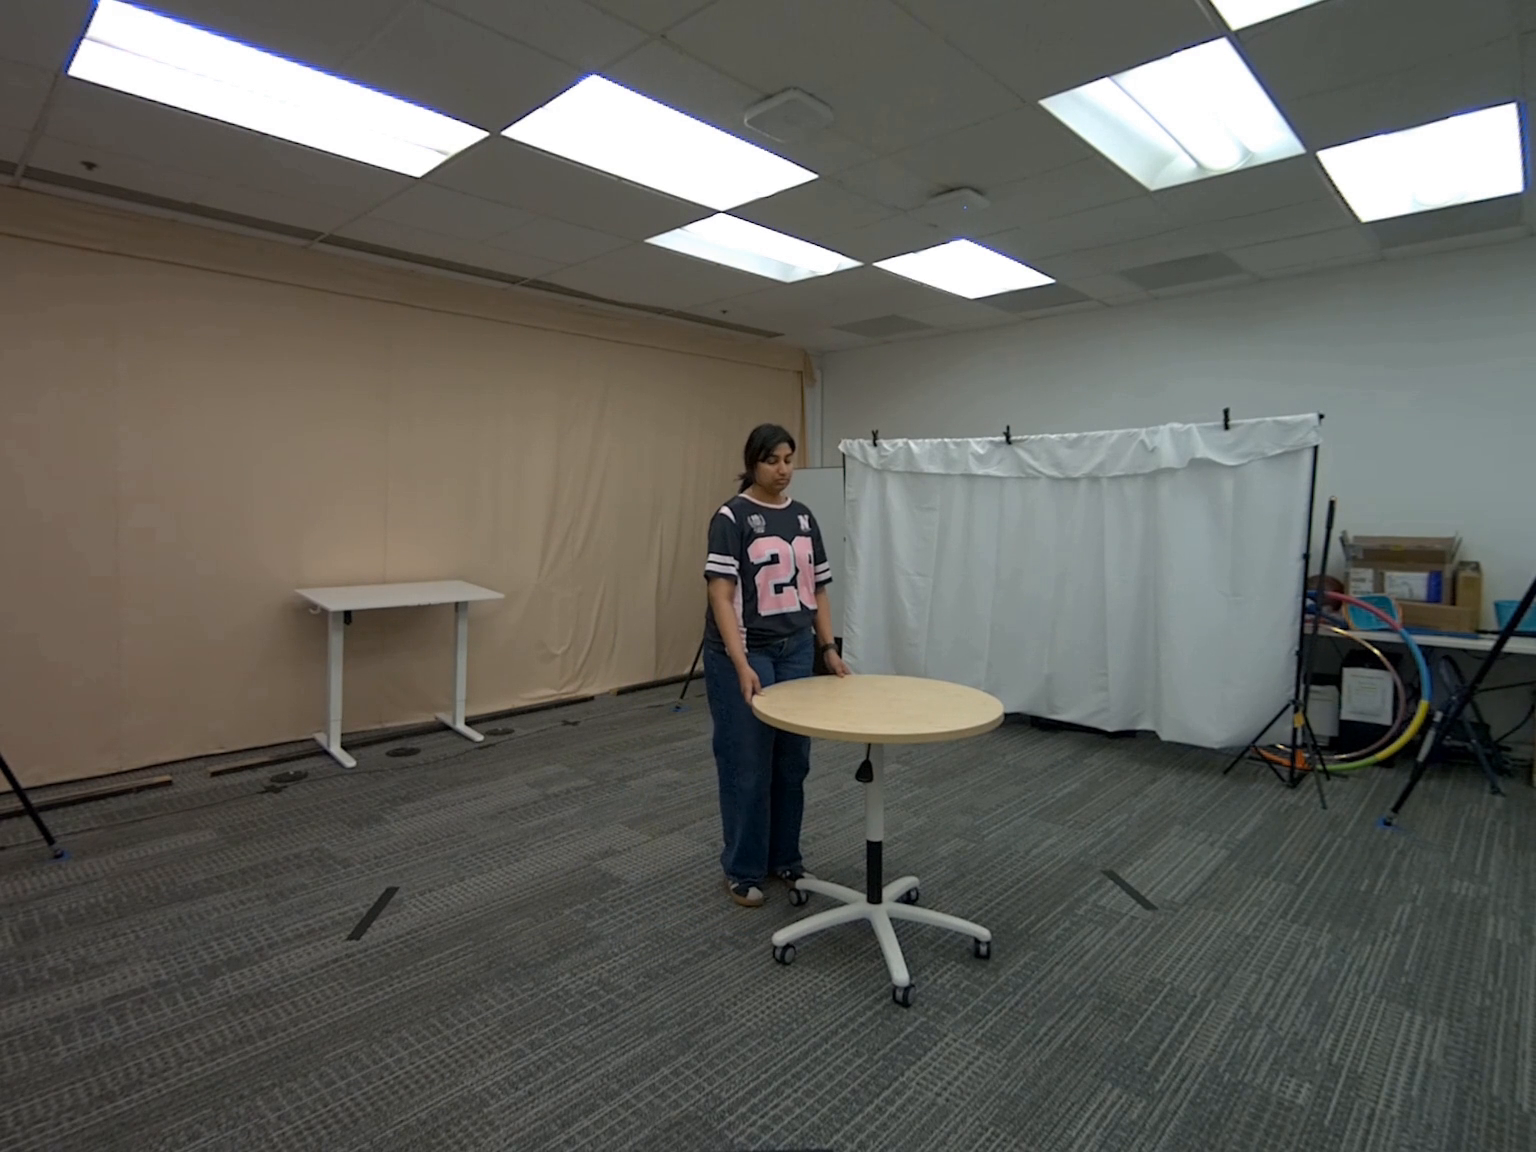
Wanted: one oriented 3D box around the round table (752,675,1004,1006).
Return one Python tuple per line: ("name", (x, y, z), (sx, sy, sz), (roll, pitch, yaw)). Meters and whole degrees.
("round table", (0.338, 0.775, 2.660), (0.784, 0.784, 0.788), (0, 4, -2))
